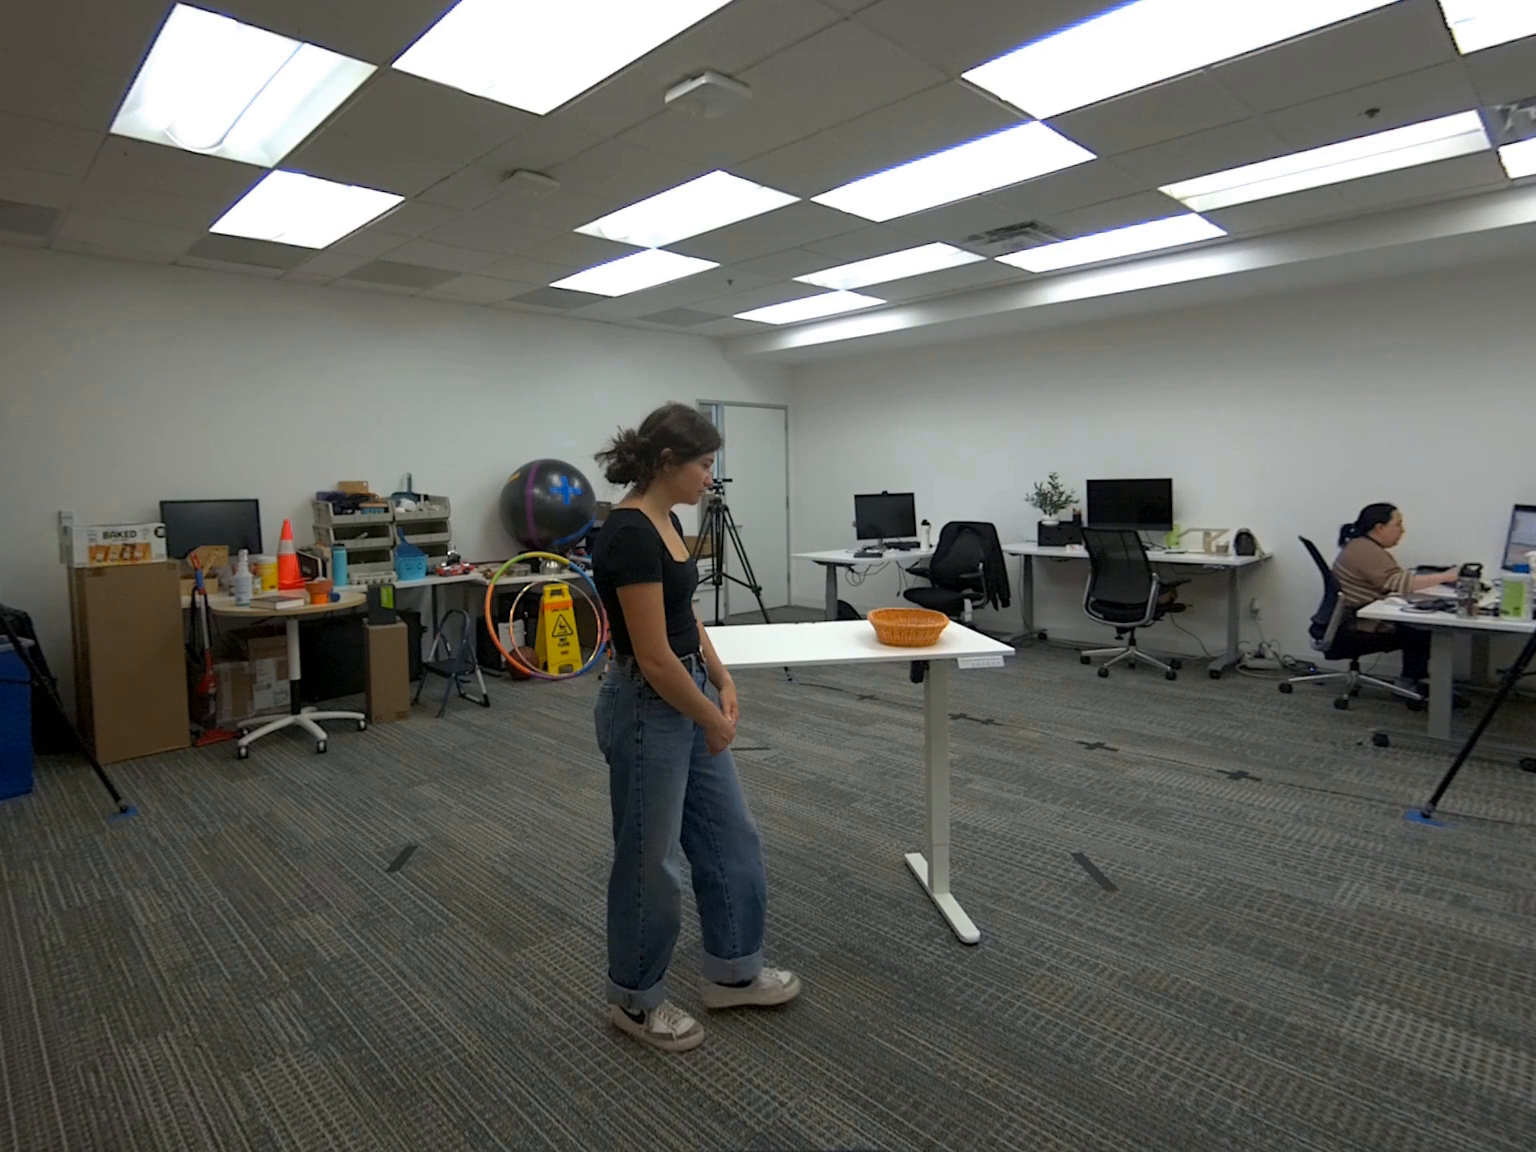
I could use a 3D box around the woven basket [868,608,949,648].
[{"bbox_3d":[0.455,0.171,2.686,0.255,0.073,0.348,1,7,9],"label":"woven basket"}]
